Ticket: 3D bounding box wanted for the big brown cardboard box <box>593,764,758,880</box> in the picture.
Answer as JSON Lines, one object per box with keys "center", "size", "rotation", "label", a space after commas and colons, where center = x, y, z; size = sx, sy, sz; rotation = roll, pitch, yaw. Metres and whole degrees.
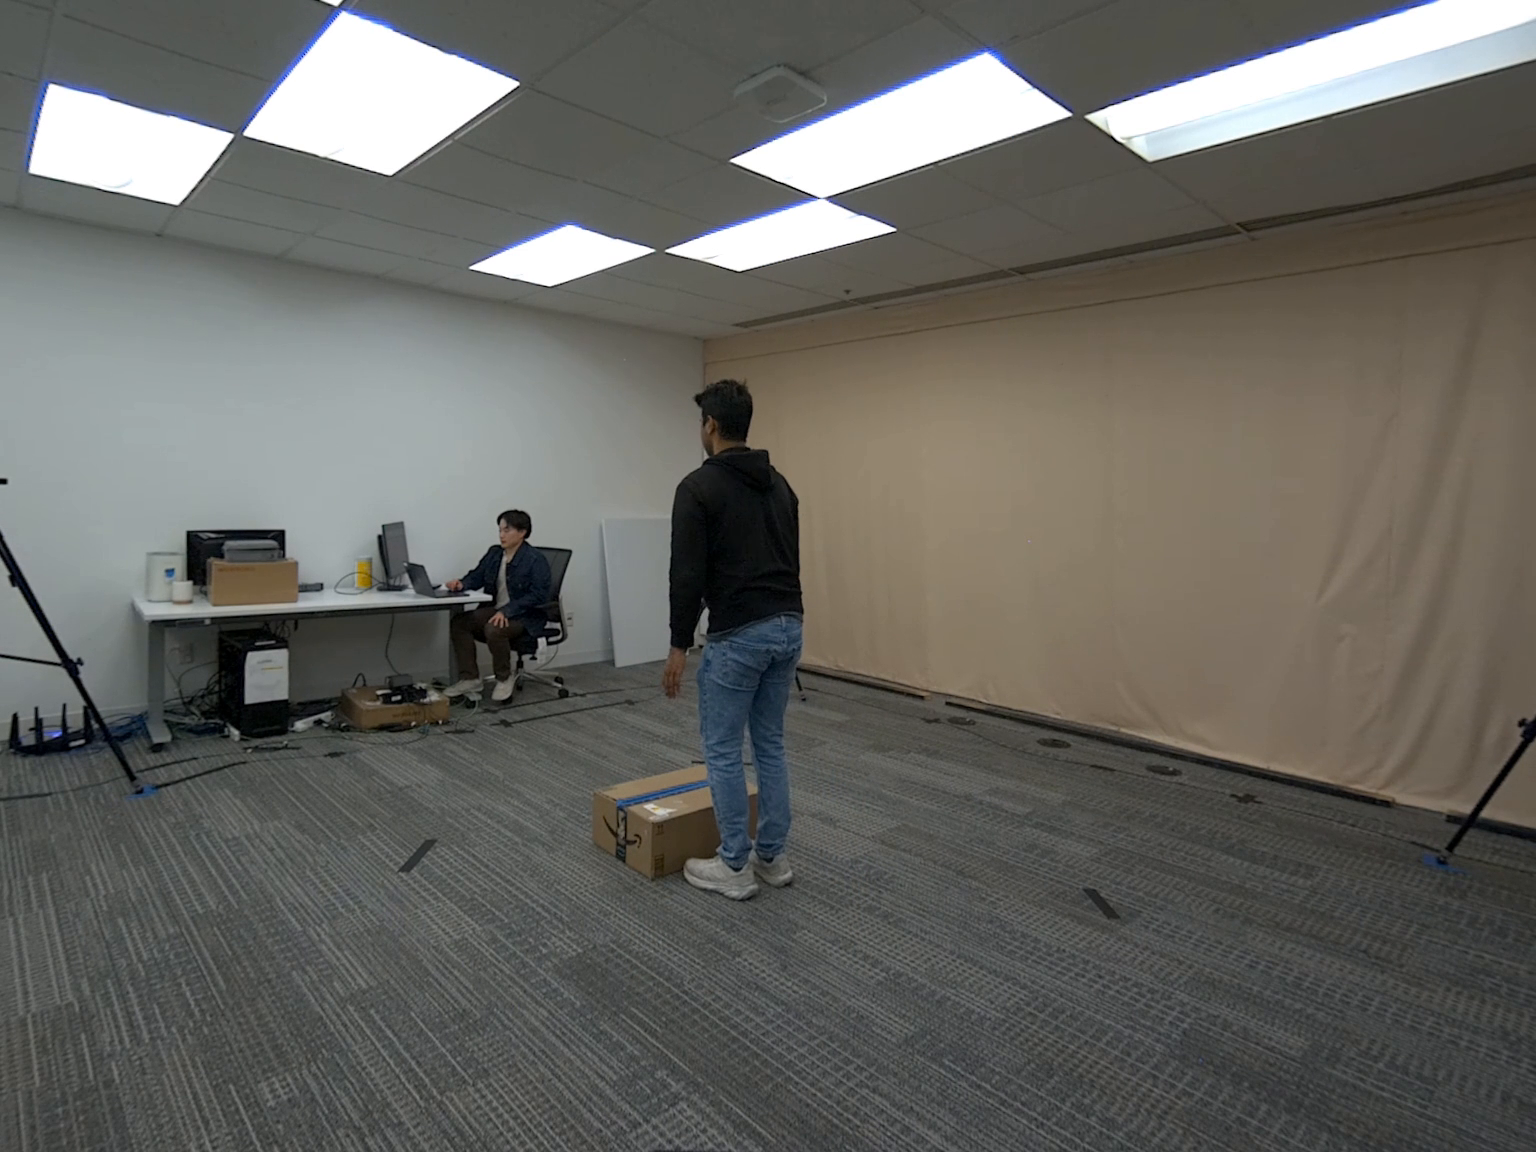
{"center": [-0.360, 0.965, 3.383], "size": [0.575, 0.232, 0.428], "rotation": [-2, 6, -42], "label": "big brown cardboard box"}
